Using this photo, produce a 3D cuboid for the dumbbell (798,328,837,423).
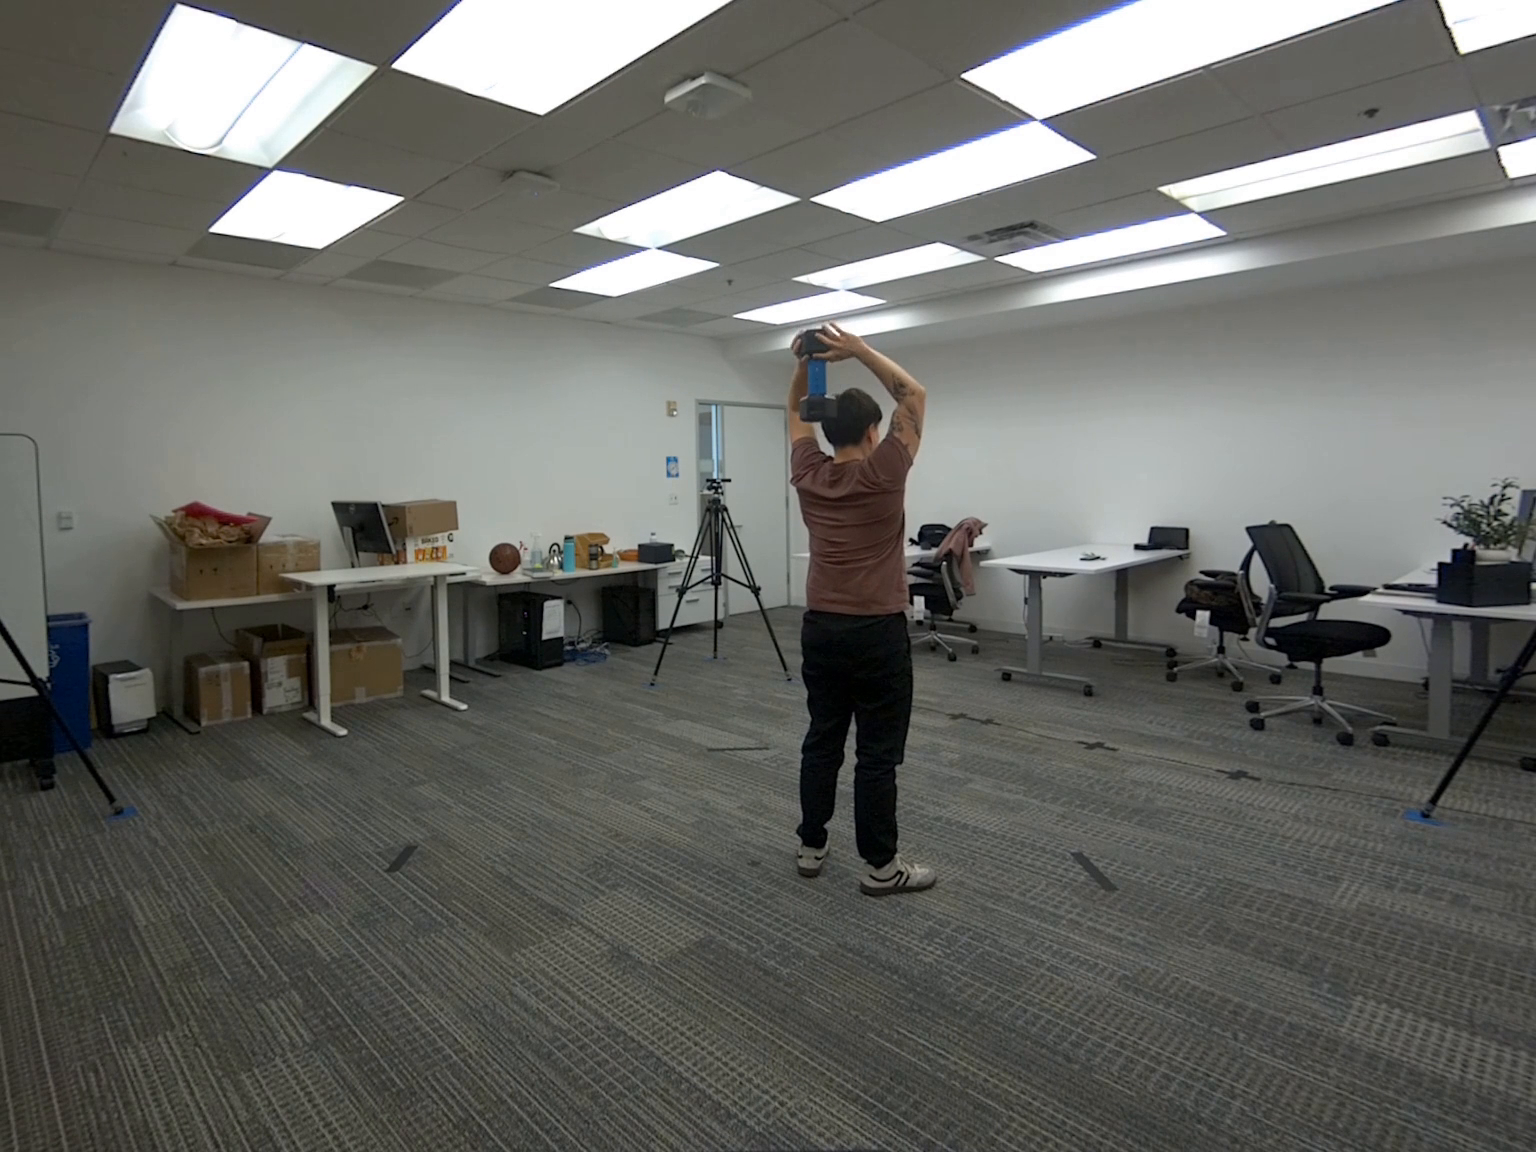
[{"bbox_3d":[0.165,-0.649,2.777,0.119,0.293,0.112,-1,0,-45],"label":"dumbbell"}]
